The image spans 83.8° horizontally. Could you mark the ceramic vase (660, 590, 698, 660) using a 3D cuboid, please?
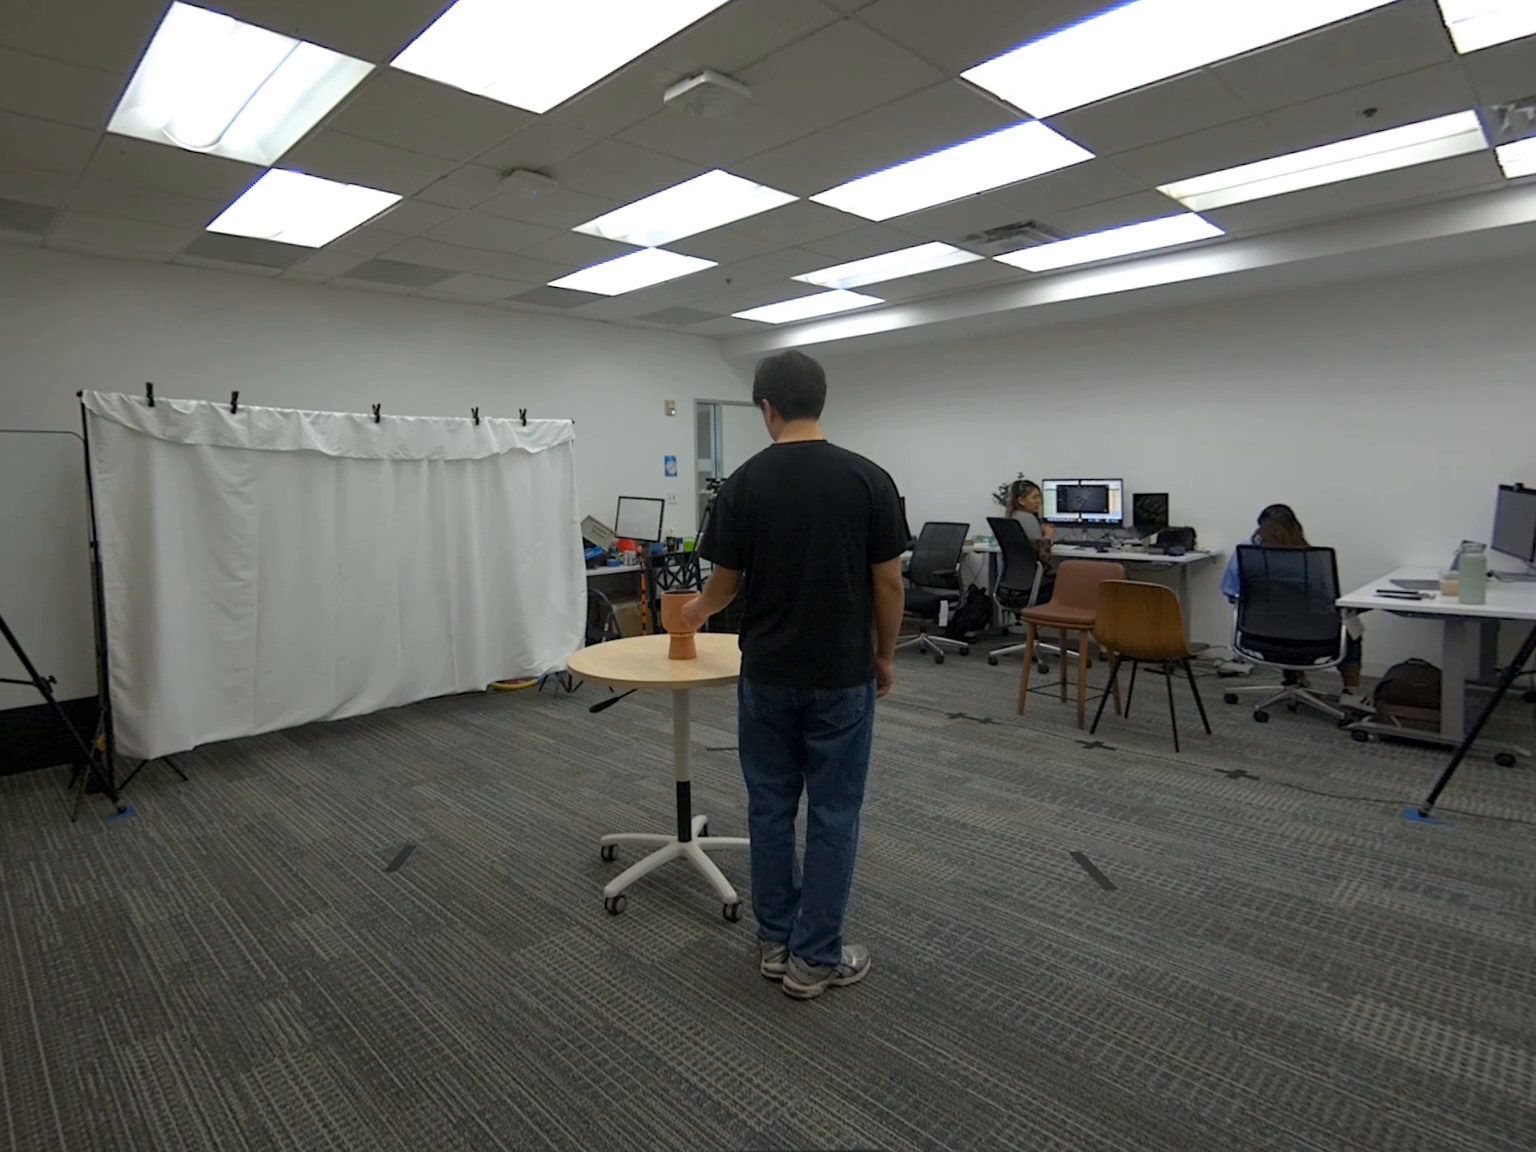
[{"bbox_3d":[-0.286,0.167,2.882,0.136,0.218,0.158,1,6,9],"label":"ceramic vase"}]
